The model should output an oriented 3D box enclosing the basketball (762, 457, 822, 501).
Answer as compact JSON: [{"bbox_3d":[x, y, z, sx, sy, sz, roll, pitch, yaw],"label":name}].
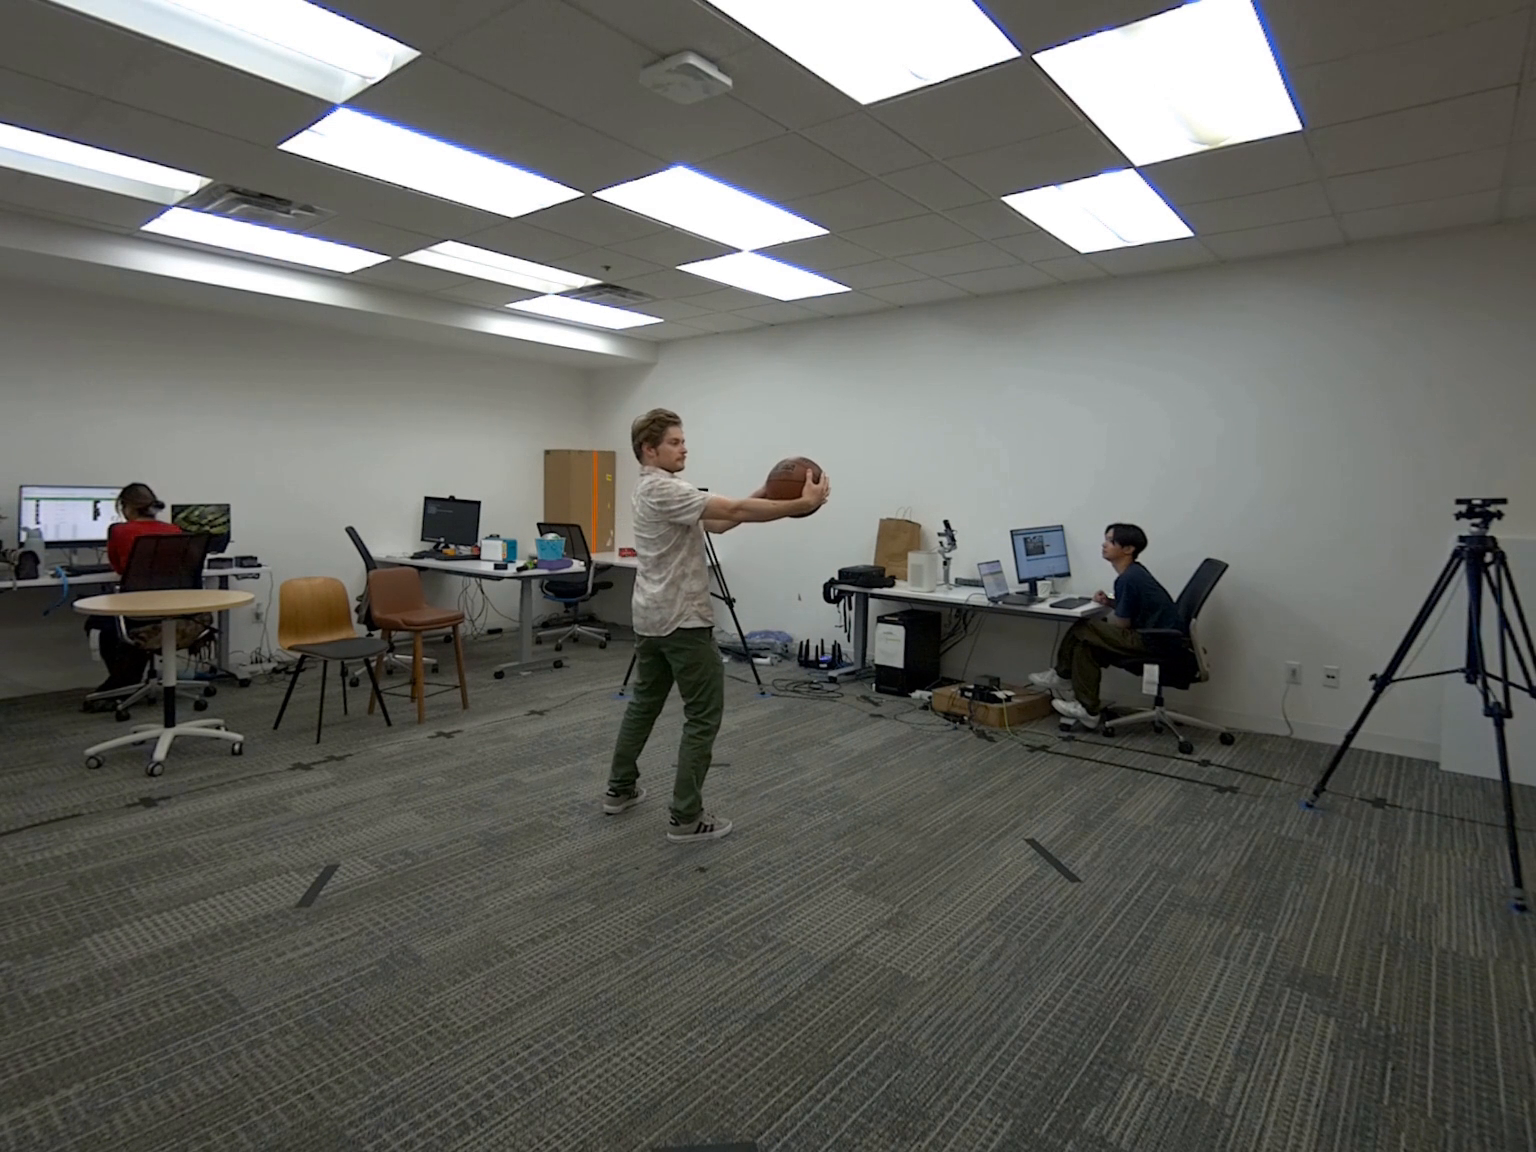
[{"bbox_3d":[0.100,-0.350,3.304,0.235,0.235,0.237,1,4,-2],"label":"basketball"}]
